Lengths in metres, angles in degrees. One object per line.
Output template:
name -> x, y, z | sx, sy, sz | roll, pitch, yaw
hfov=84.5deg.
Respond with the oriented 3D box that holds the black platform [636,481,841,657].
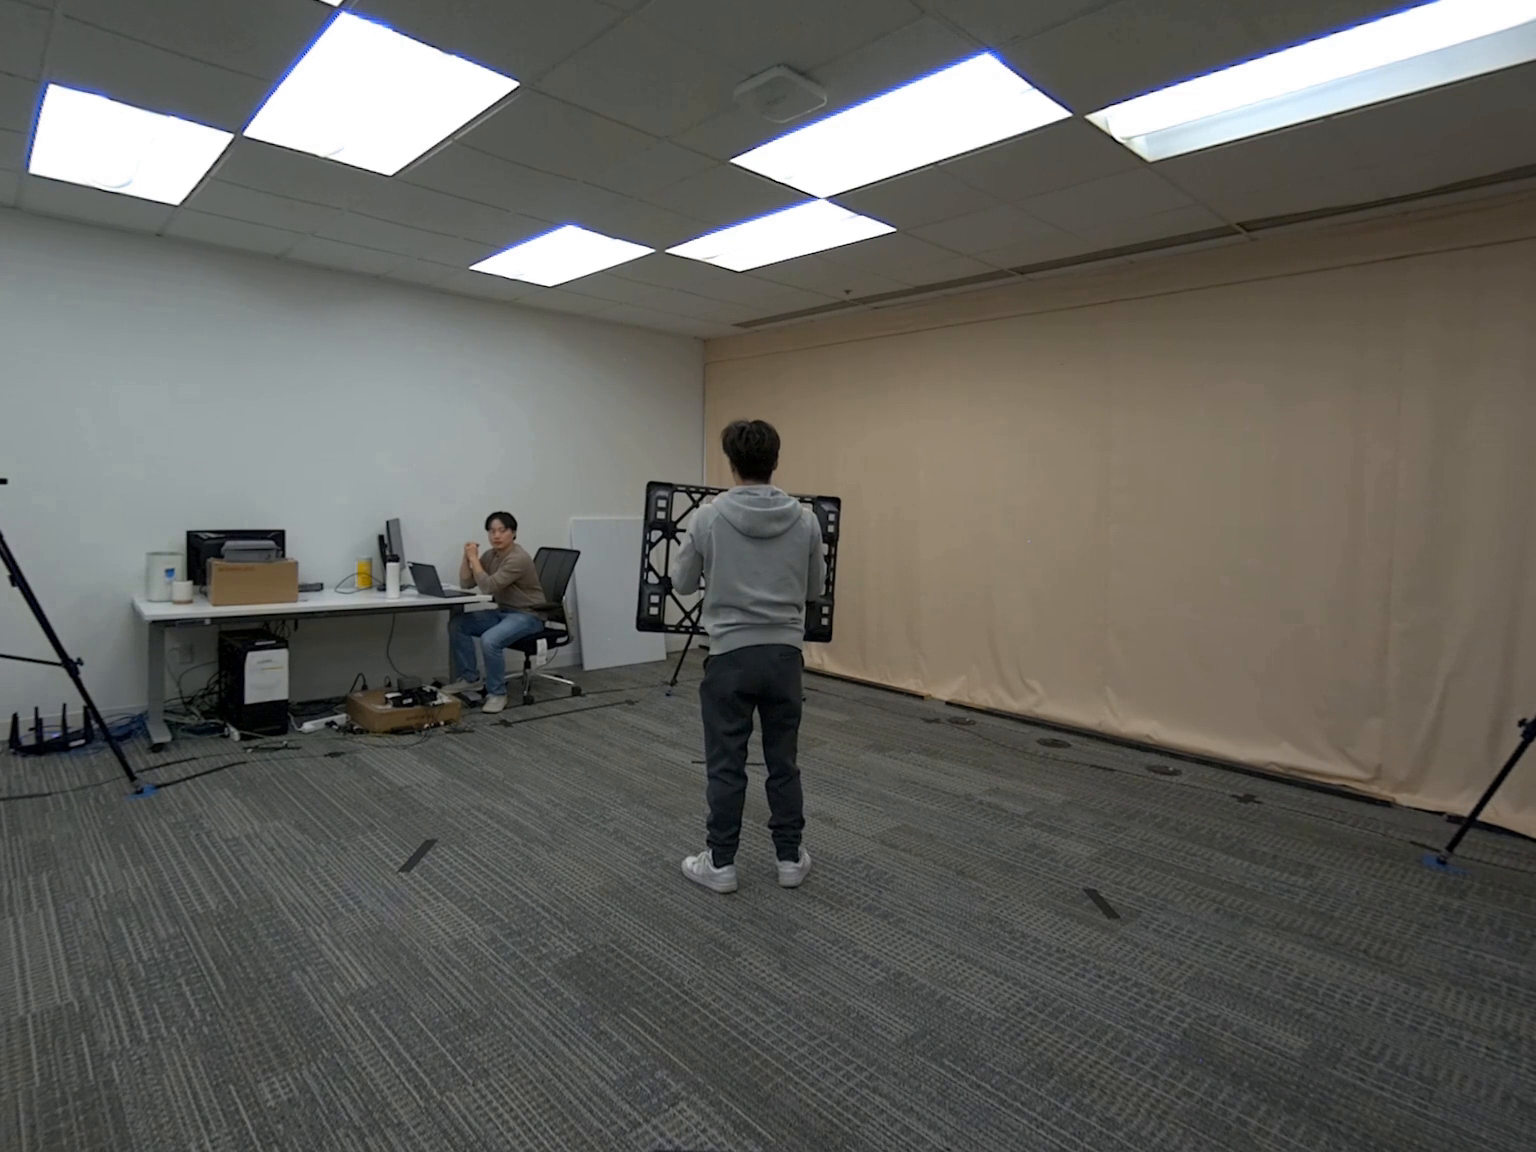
black platform -> -0.117, -0.046, 3.350 | 0.799, 0.606, 0.144 | 4, -2, -9
